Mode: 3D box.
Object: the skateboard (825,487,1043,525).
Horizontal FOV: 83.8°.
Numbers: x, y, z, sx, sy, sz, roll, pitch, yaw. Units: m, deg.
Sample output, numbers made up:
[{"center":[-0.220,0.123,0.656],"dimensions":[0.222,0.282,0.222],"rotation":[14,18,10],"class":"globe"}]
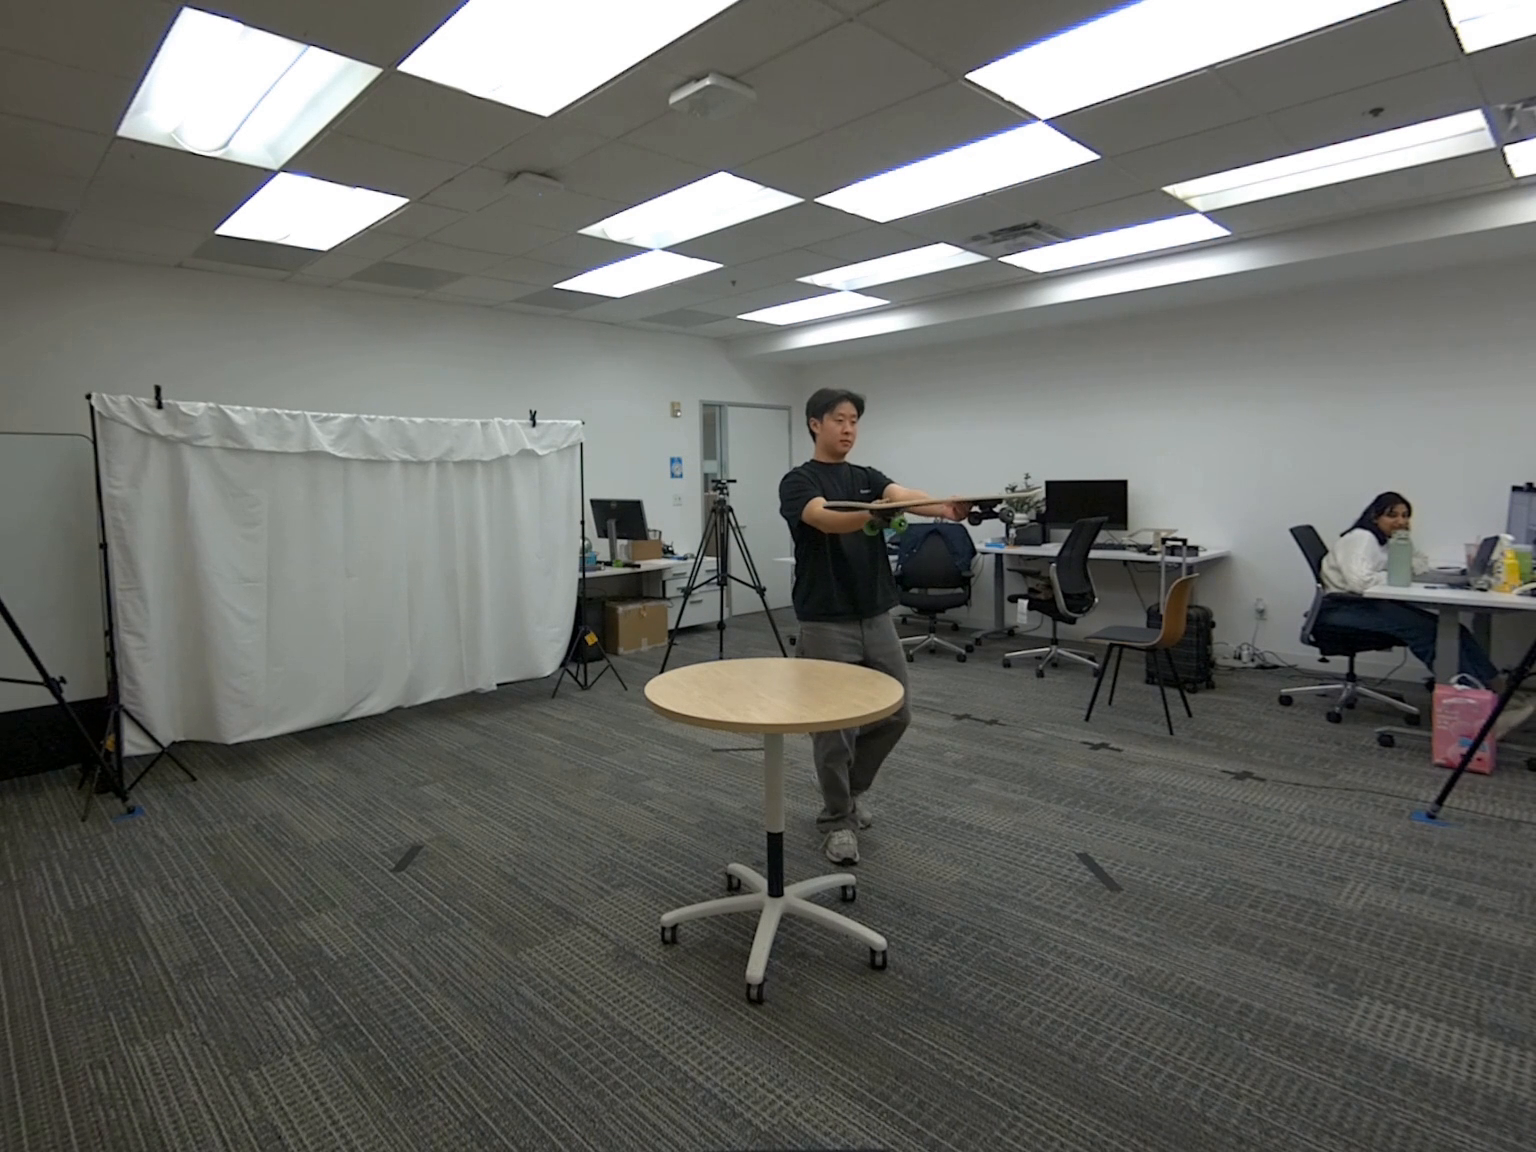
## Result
[{"center":[0.539,-0.204,2.667],"dimensions":[0.771,0.110,0.197],"rotation":[-7,3,-23],"class":"skateboard"}]
